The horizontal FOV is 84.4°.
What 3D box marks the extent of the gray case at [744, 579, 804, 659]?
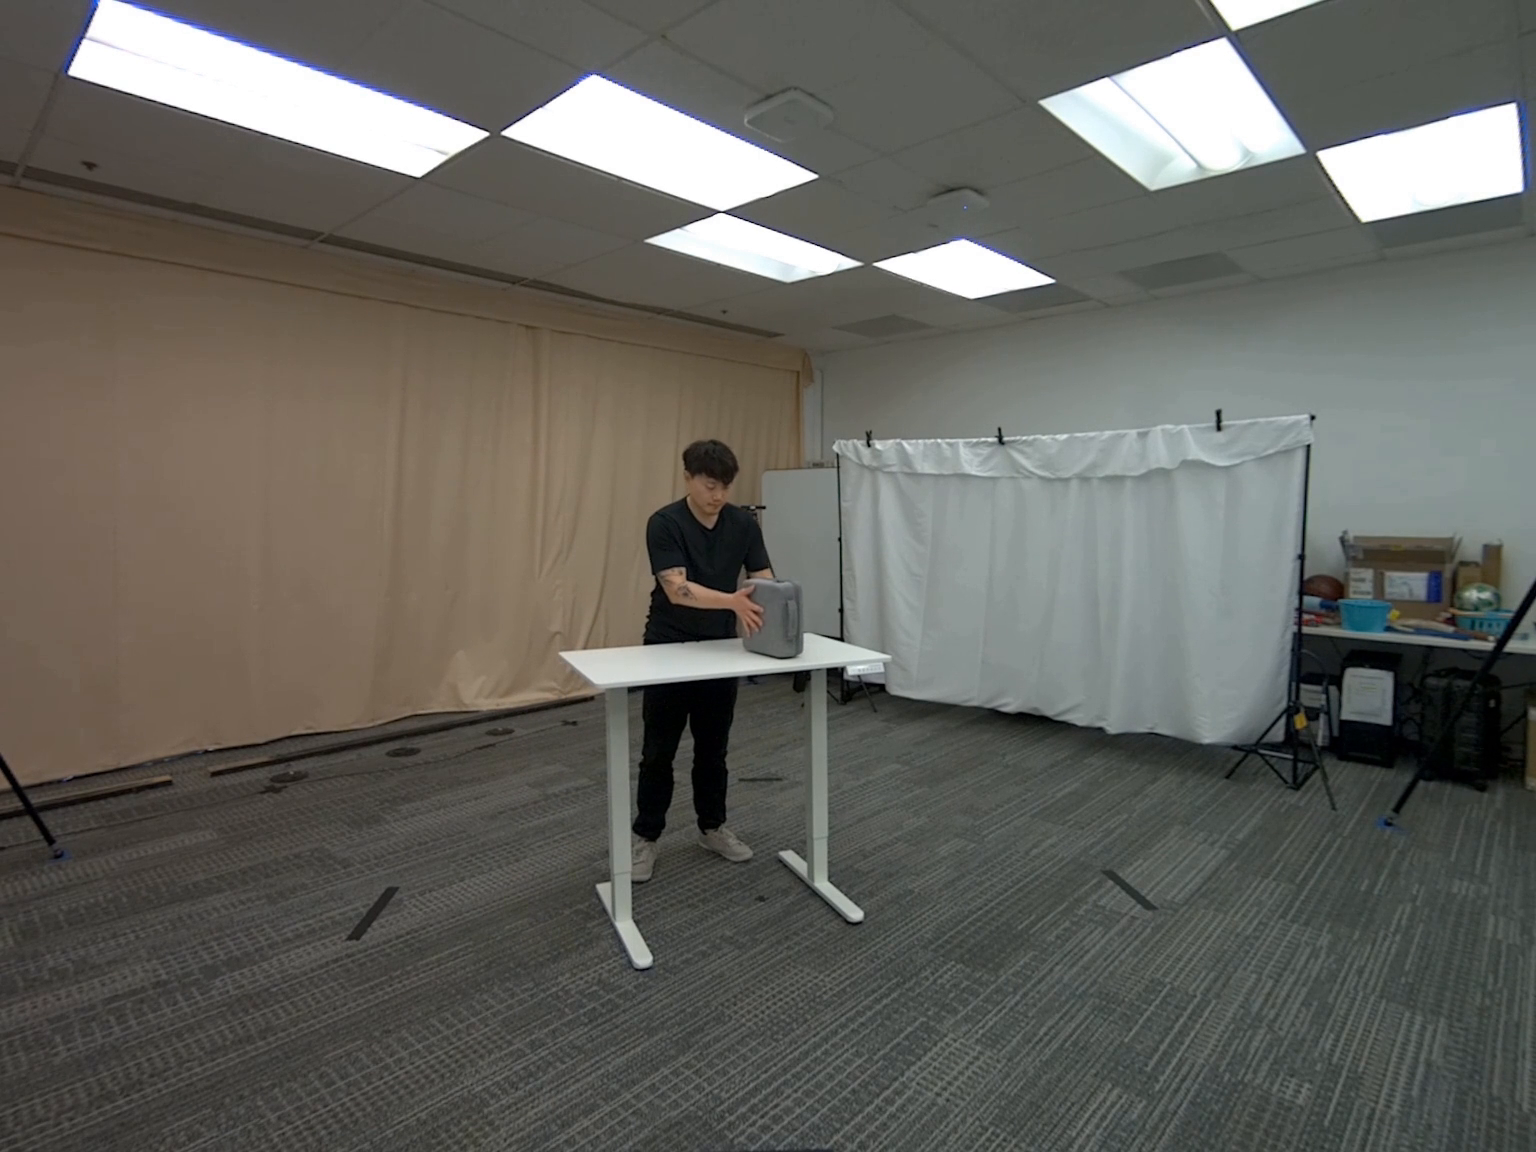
[{"bbox_3d":[0.019,0.144,2.861,0.101,0.257,0.268,-1,2,-30],"label":"gray case"}]
